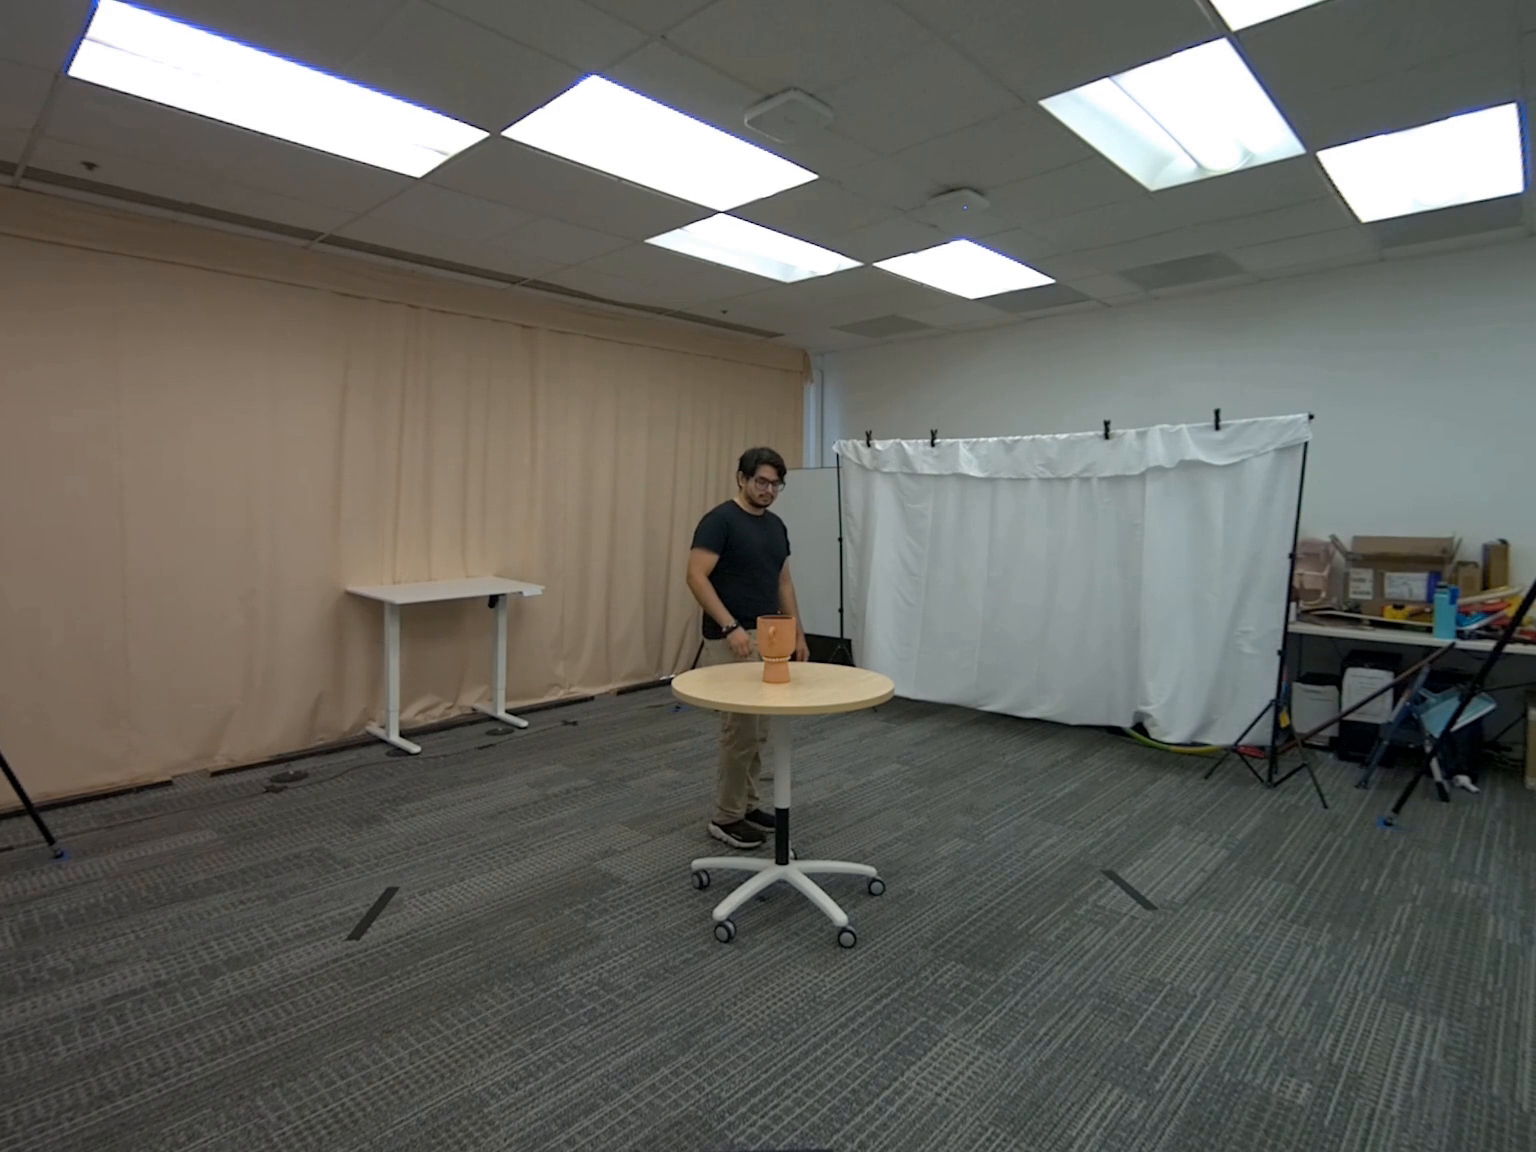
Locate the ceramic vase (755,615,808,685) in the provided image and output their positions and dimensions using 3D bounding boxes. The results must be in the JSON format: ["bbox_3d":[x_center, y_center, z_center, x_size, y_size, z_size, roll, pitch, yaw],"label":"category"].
[{"bbox_3d":[0.031,0.254,2.926,0.154,0.219,0.139,-3,5,-36],"label":"ceramic vase"}]
